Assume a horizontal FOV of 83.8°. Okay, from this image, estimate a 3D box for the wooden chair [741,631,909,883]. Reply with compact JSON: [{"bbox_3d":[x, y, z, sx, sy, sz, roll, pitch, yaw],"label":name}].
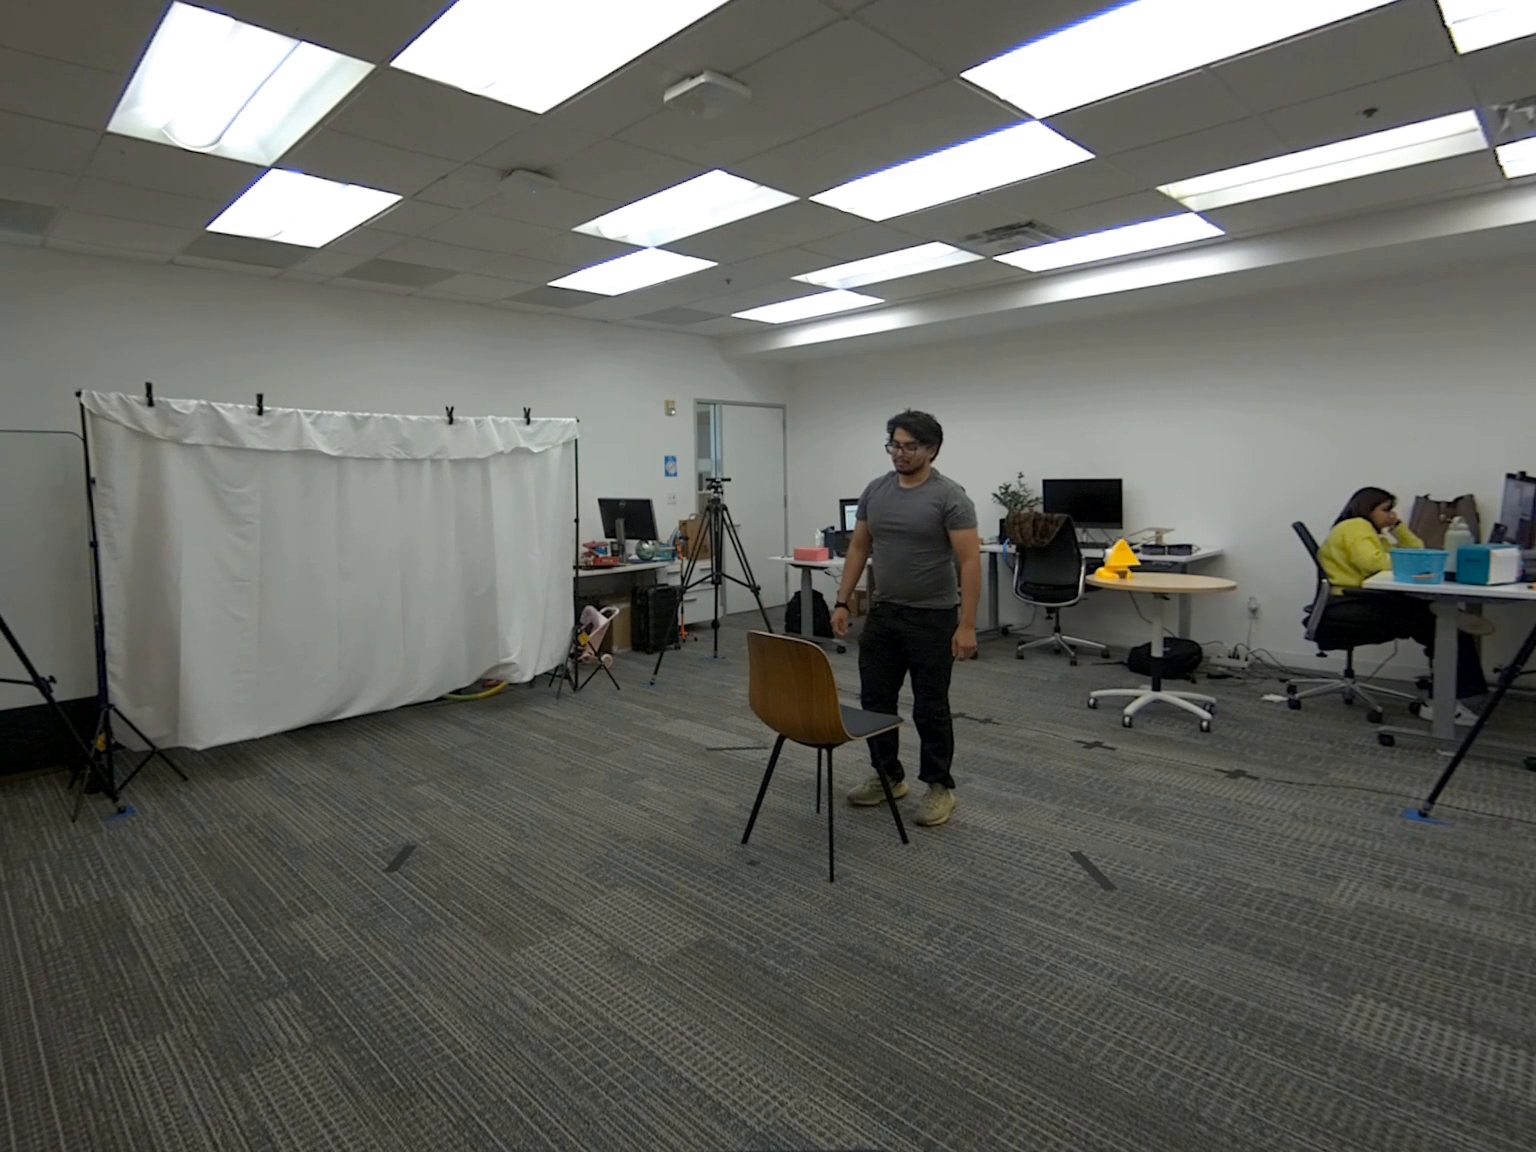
[{"bbox_3d":[0.215,0.598,3.230,0.511,0.871,0.493,-11,10,-44],"label":"wooden chair"}]
